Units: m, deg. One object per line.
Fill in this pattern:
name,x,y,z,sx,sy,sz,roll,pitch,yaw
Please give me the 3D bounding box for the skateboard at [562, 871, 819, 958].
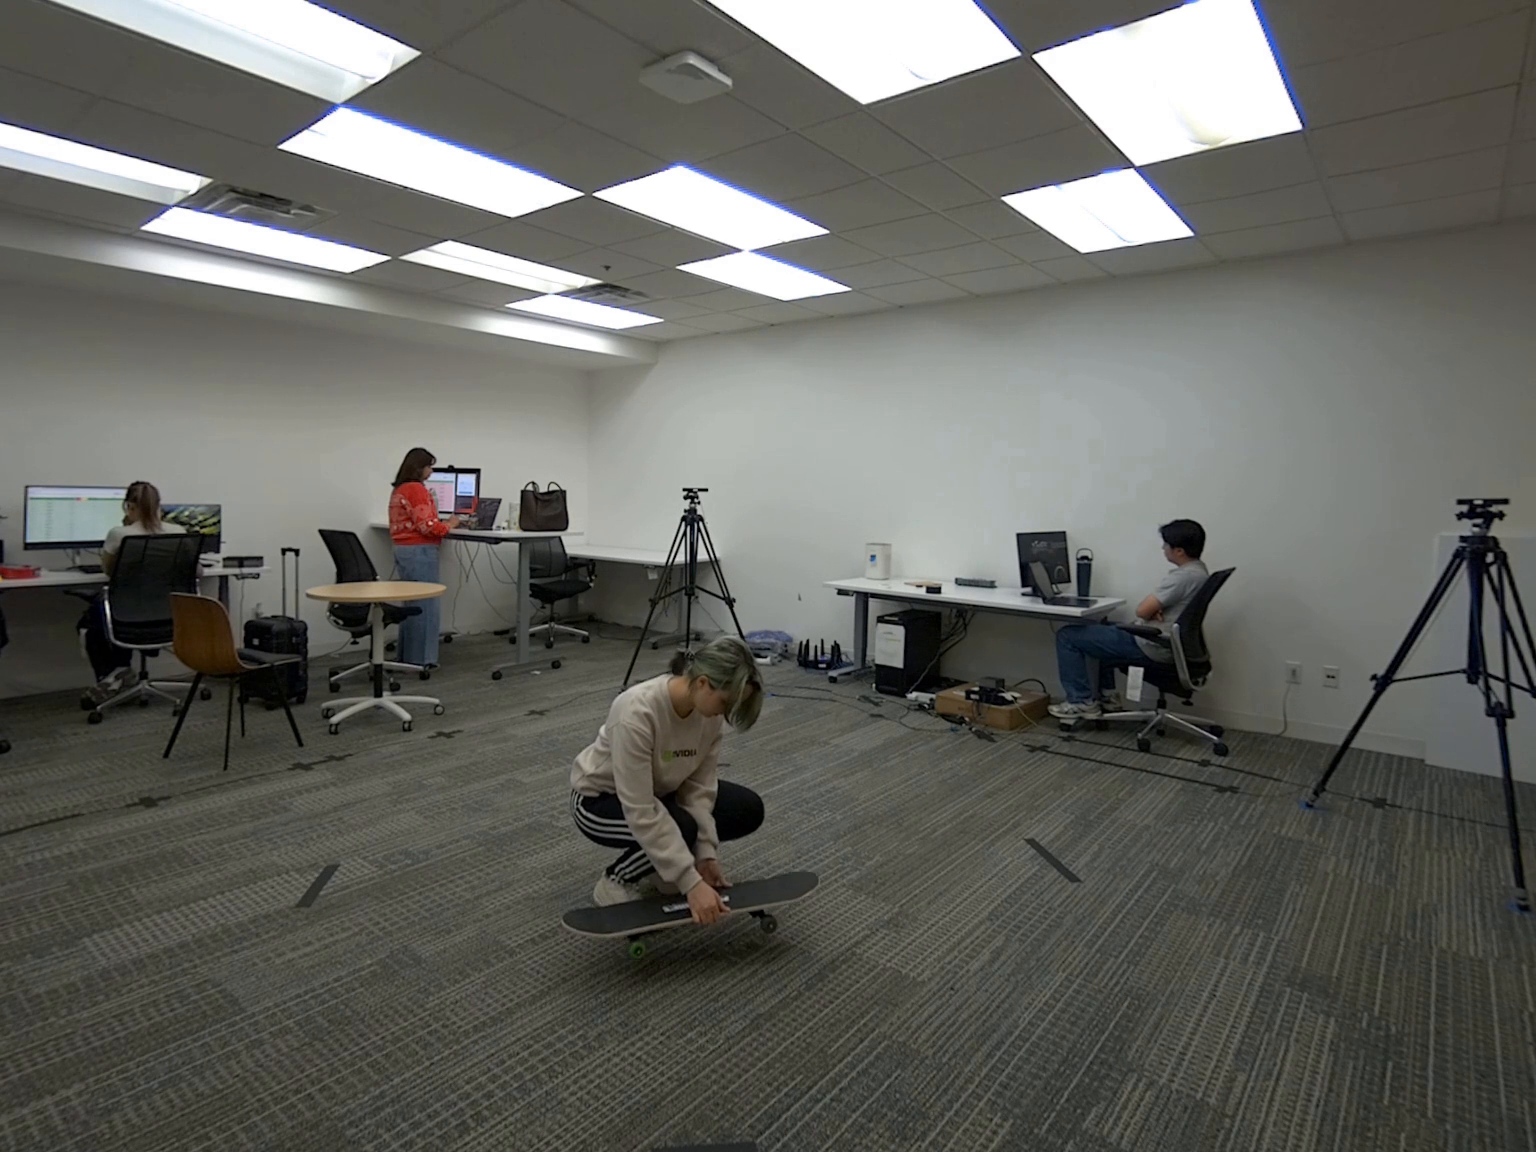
skateboard,-0.215,0.991,2.515,0.771,0.110,0.197,-4,2,-18
